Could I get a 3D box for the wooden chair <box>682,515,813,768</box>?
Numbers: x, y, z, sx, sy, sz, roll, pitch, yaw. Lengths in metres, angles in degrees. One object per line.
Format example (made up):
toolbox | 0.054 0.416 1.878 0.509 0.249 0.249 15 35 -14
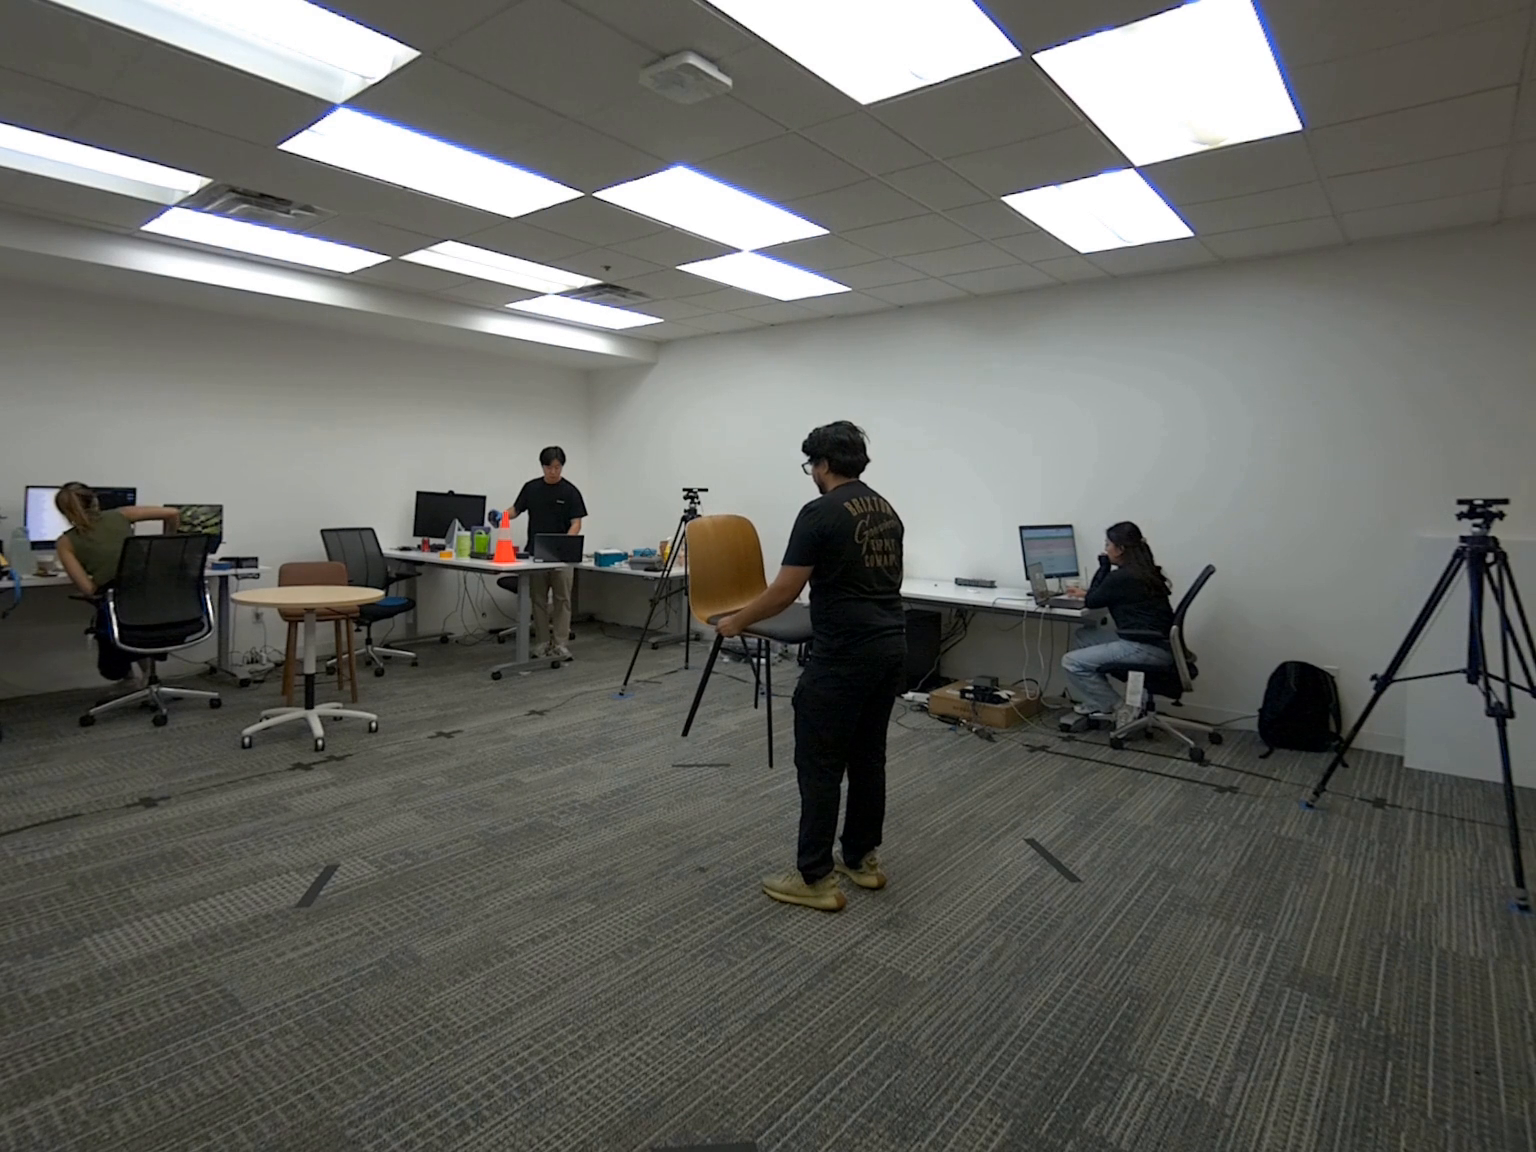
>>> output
wooden chair | -0.028 0.206 3.273 0.540 0.872 0.465 2 8 42
